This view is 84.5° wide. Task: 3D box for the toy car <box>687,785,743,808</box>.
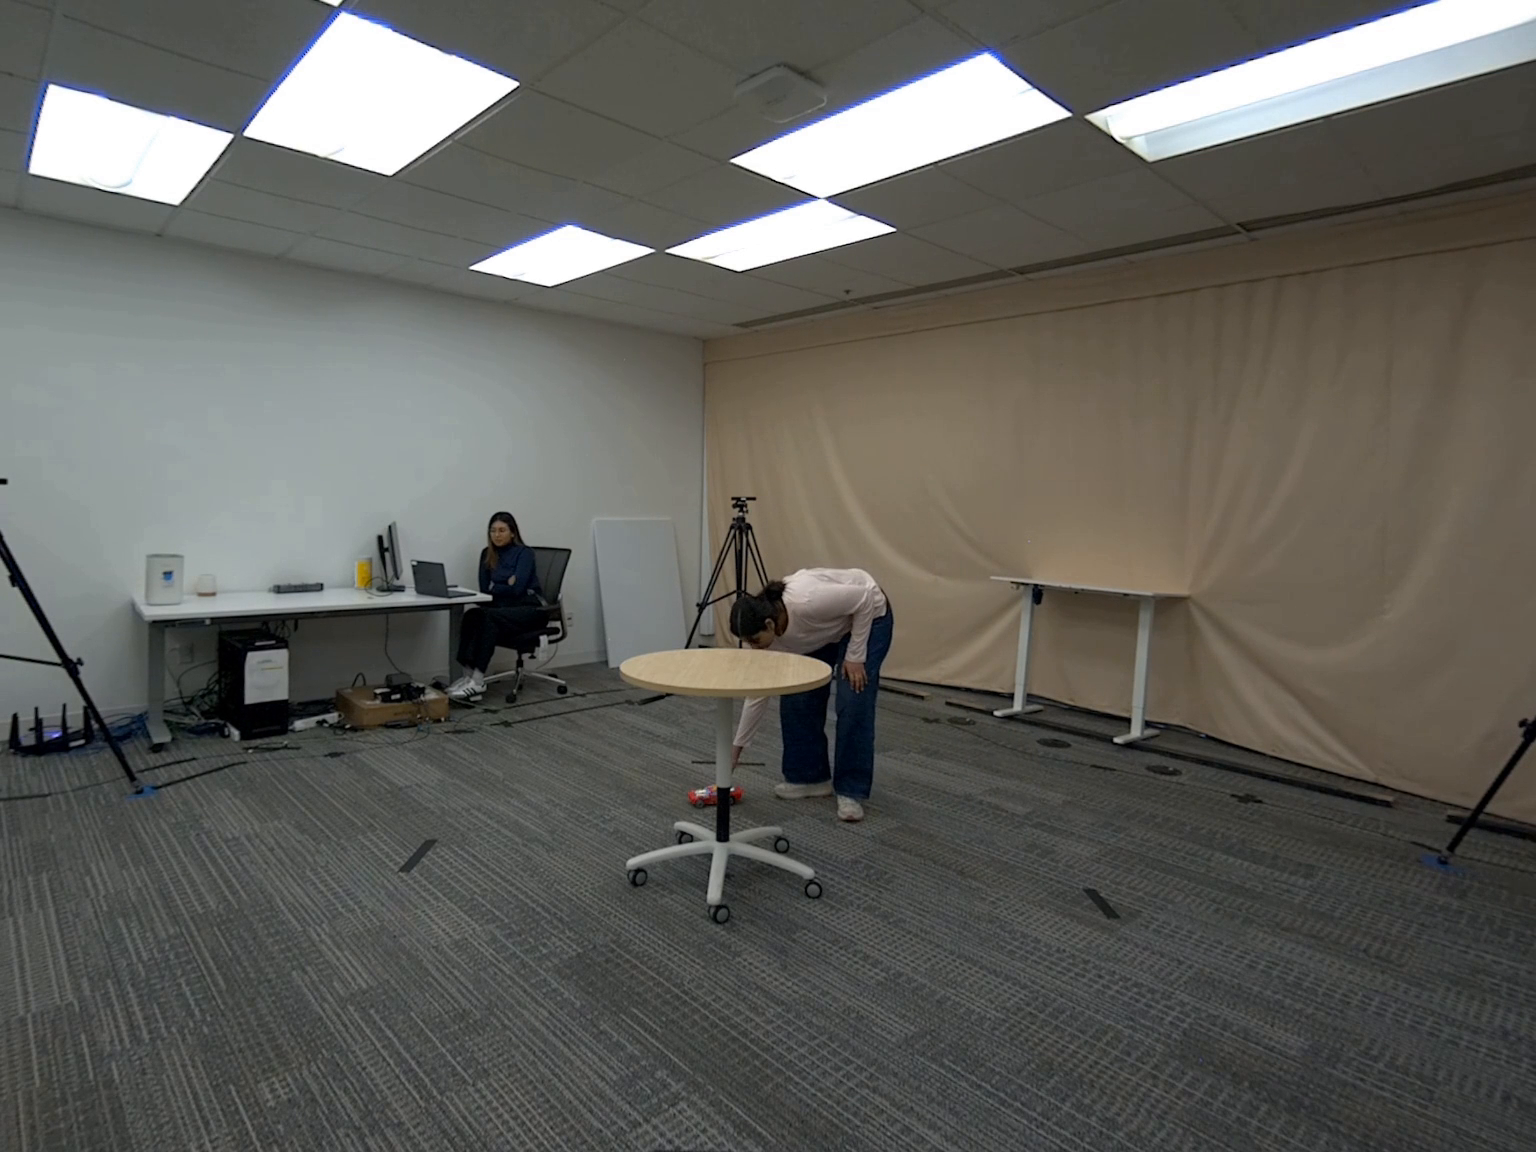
[{"bbox_3d":[-0.245,1.010,3.862,0.252,0.083,0.132,-10,8,-18],"label":"toy car"}]
